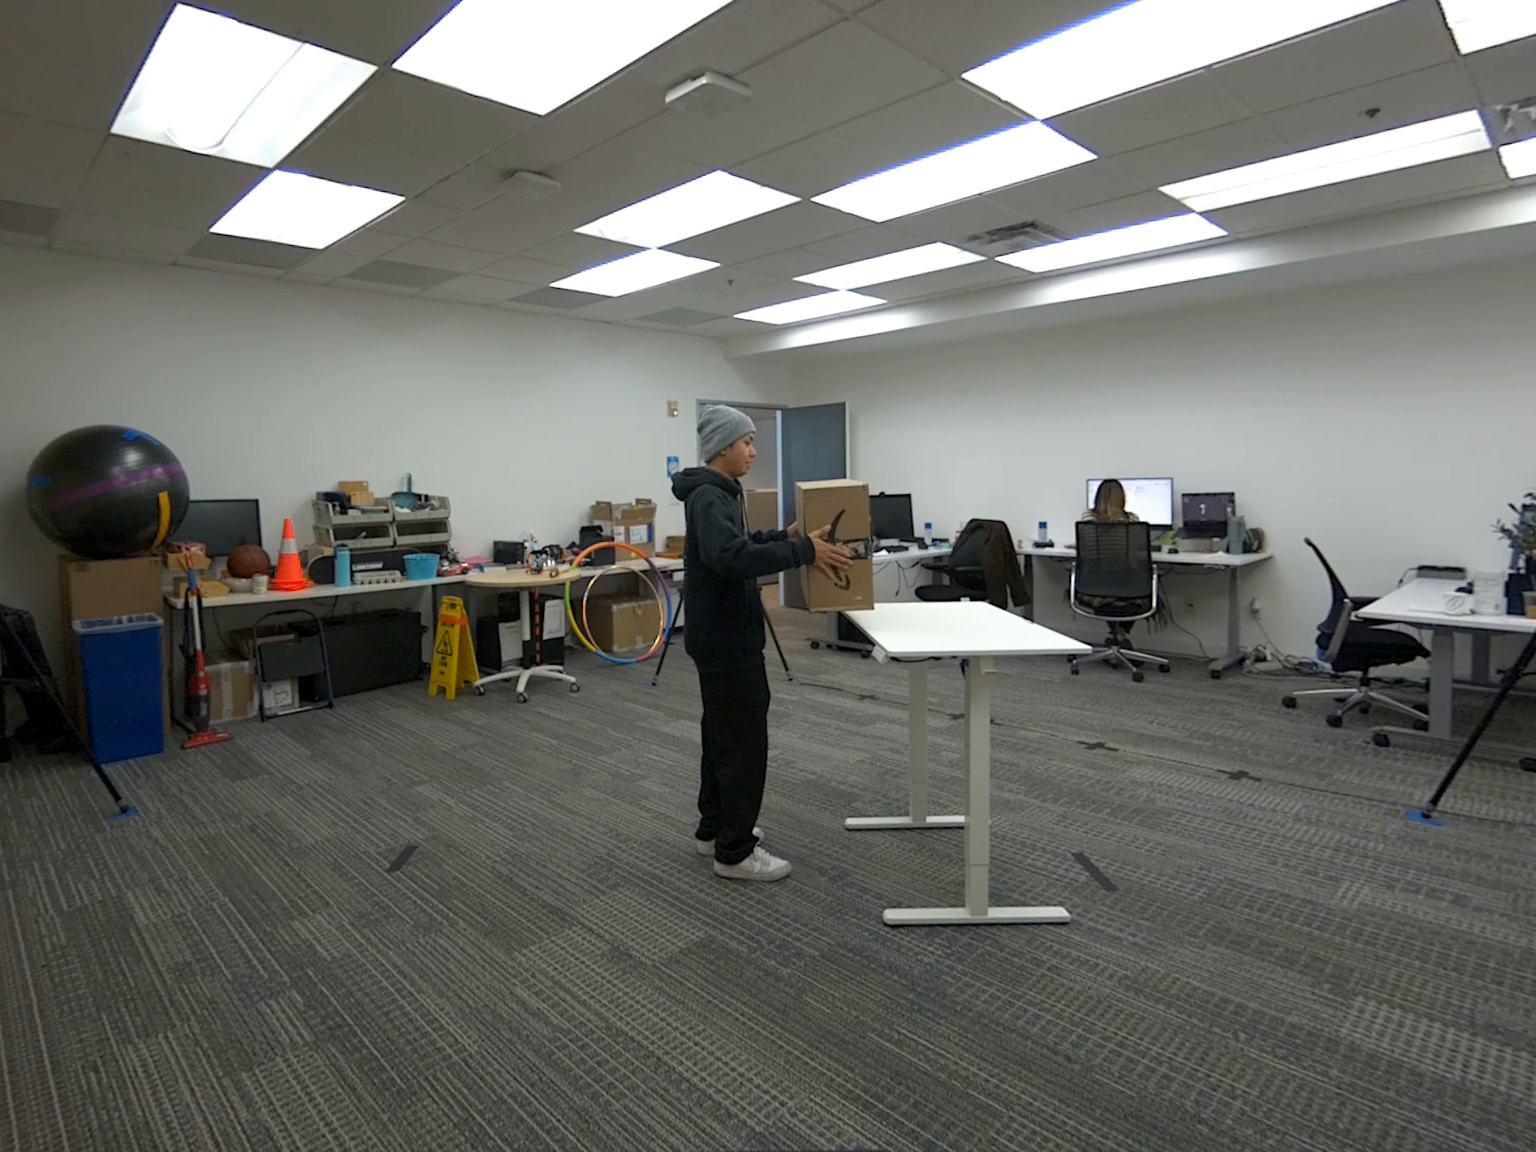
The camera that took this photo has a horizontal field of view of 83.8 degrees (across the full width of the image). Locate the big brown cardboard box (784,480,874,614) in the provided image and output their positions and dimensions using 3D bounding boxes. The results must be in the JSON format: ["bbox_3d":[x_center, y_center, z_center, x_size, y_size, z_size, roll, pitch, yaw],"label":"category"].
[{"bbox_3d":[0.232,-0.126,3.065,0.233,0.415,0.592,-3,8,0],"label":"big brown cardboard box"}]
